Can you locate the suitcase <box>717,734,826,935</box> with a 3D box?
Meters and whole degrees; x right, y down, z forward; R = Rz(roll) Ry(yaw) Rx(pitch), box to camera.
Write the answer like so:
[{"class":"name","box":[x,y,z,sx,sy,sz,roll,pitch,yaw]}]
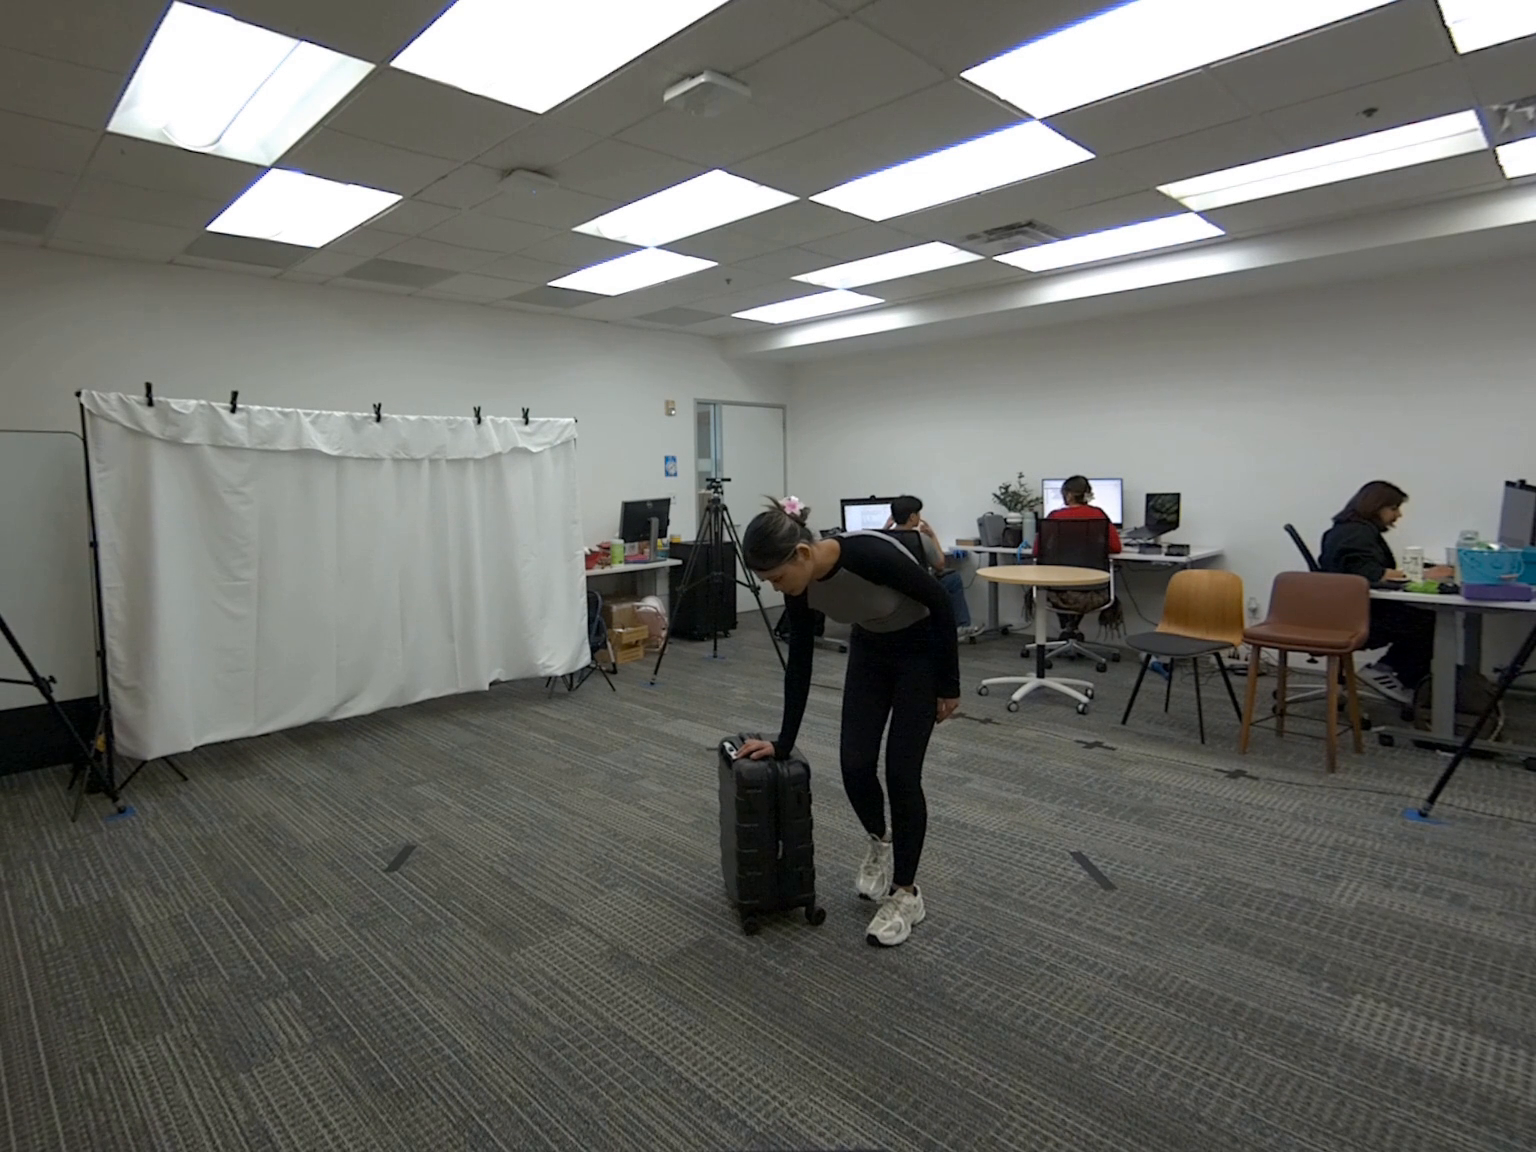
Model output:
[{"class":"suitcase","box":[-0.011,0.803,2.778,0.246,0.547,0.381,-3,5,-13]}]
